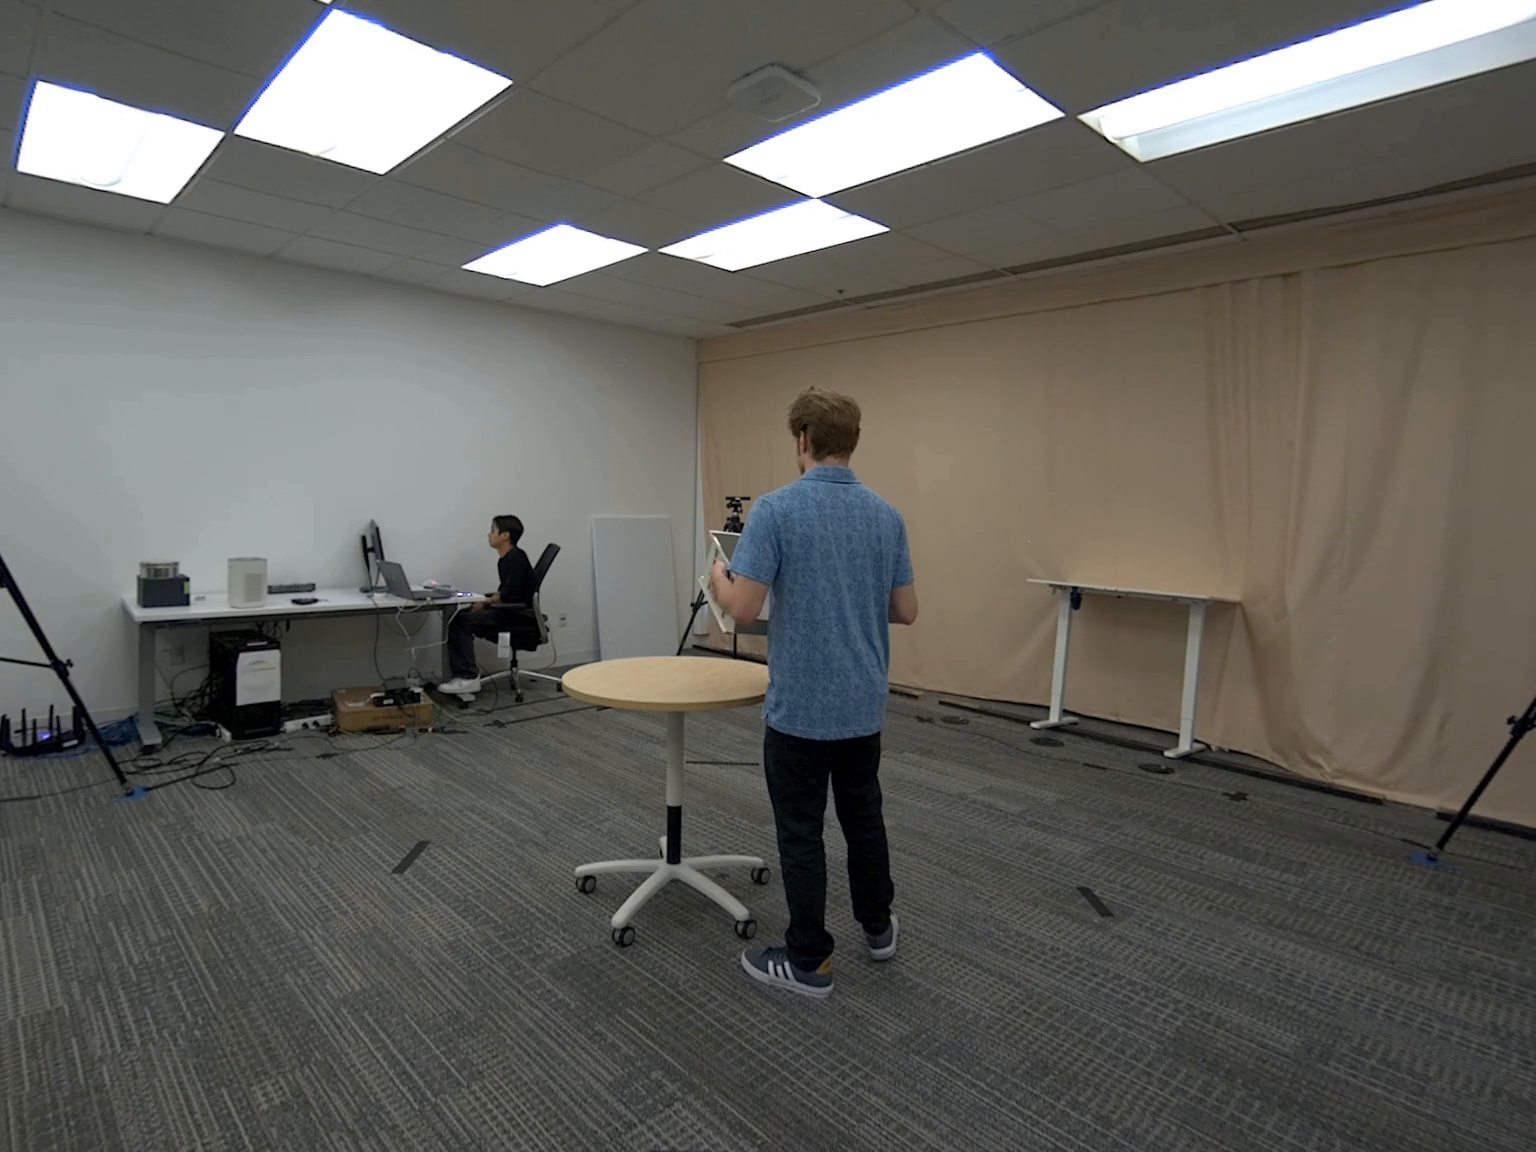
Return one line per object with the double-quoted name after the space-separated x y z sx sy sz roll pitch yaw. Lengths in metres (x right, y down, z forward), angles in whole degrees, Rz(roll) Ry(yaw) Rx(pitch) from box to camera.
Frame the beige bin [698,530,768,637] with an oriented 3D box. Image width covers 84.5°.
0.034 0.053 2.649 0.415 0.187 0.388 6 27 -22 "beige bin"
